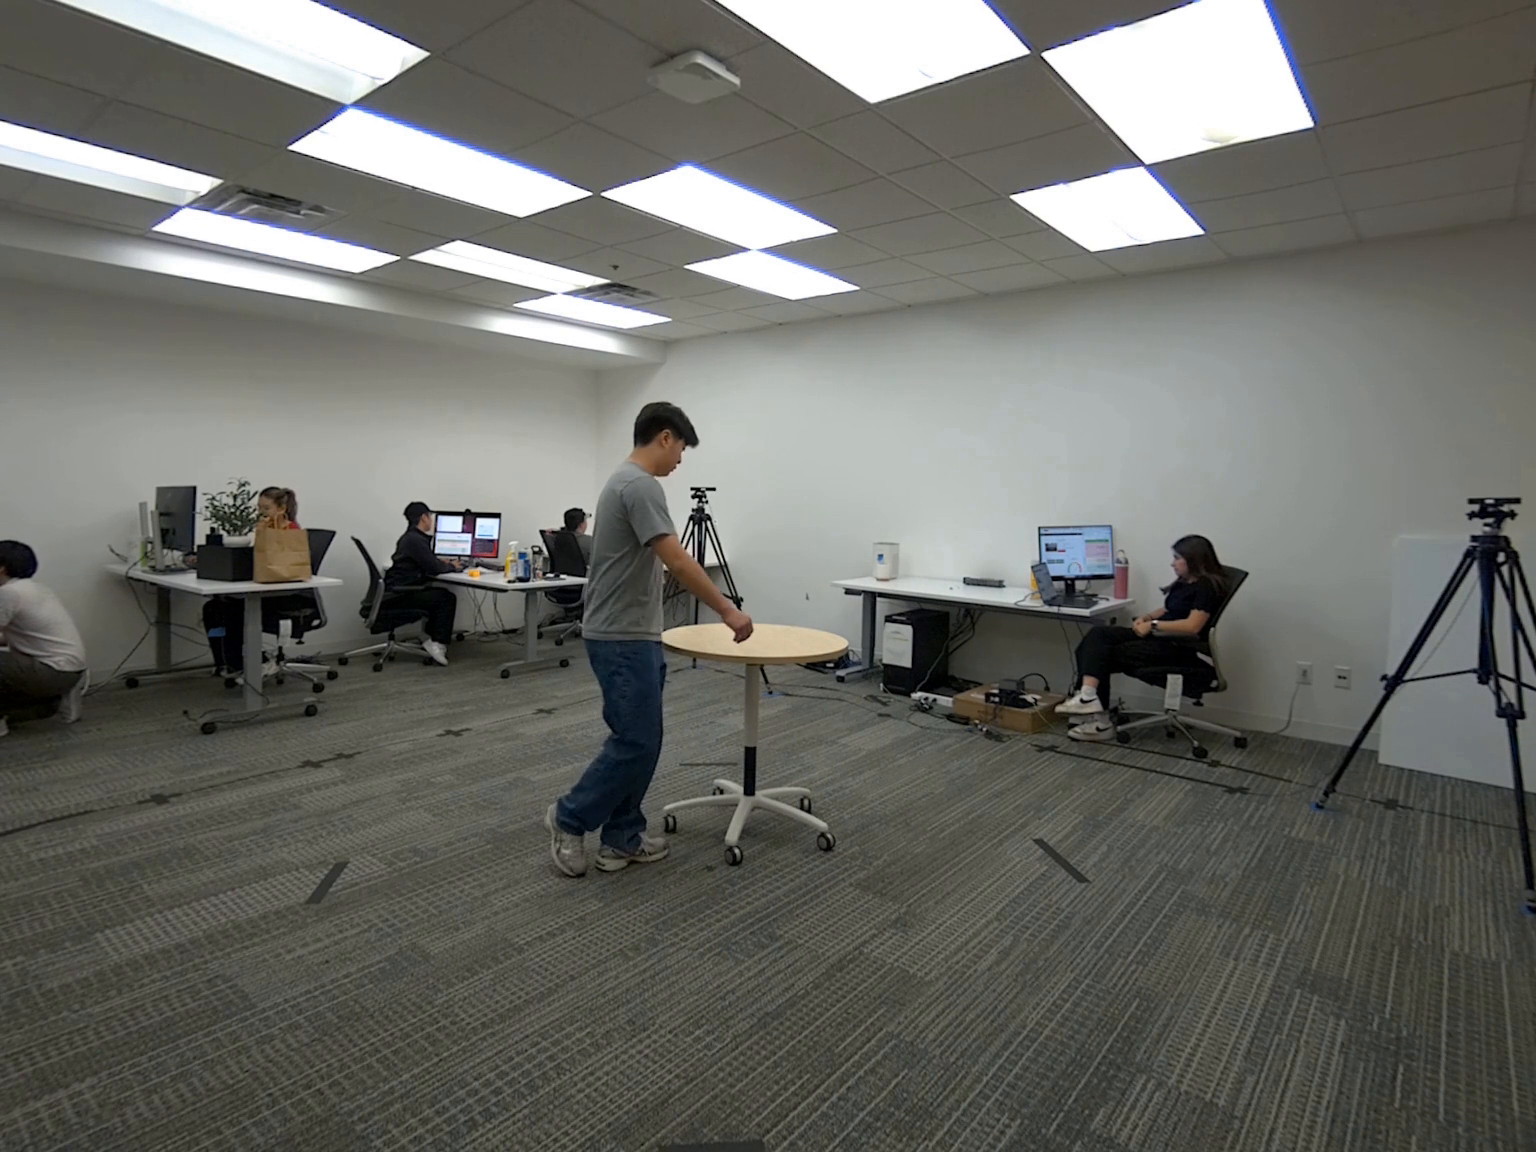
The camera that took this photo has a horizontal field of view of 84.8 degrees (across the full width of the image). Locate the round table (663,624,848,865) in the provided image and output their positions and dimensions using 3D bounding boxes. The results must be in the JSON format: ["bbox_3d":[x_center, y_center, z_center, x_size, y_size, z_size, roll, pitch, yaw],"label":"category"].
[{"bbox_3d":[-0.081,0.642,3.474,0.763,0.792,0.767,2,4,-2],"label":"round table"}]
